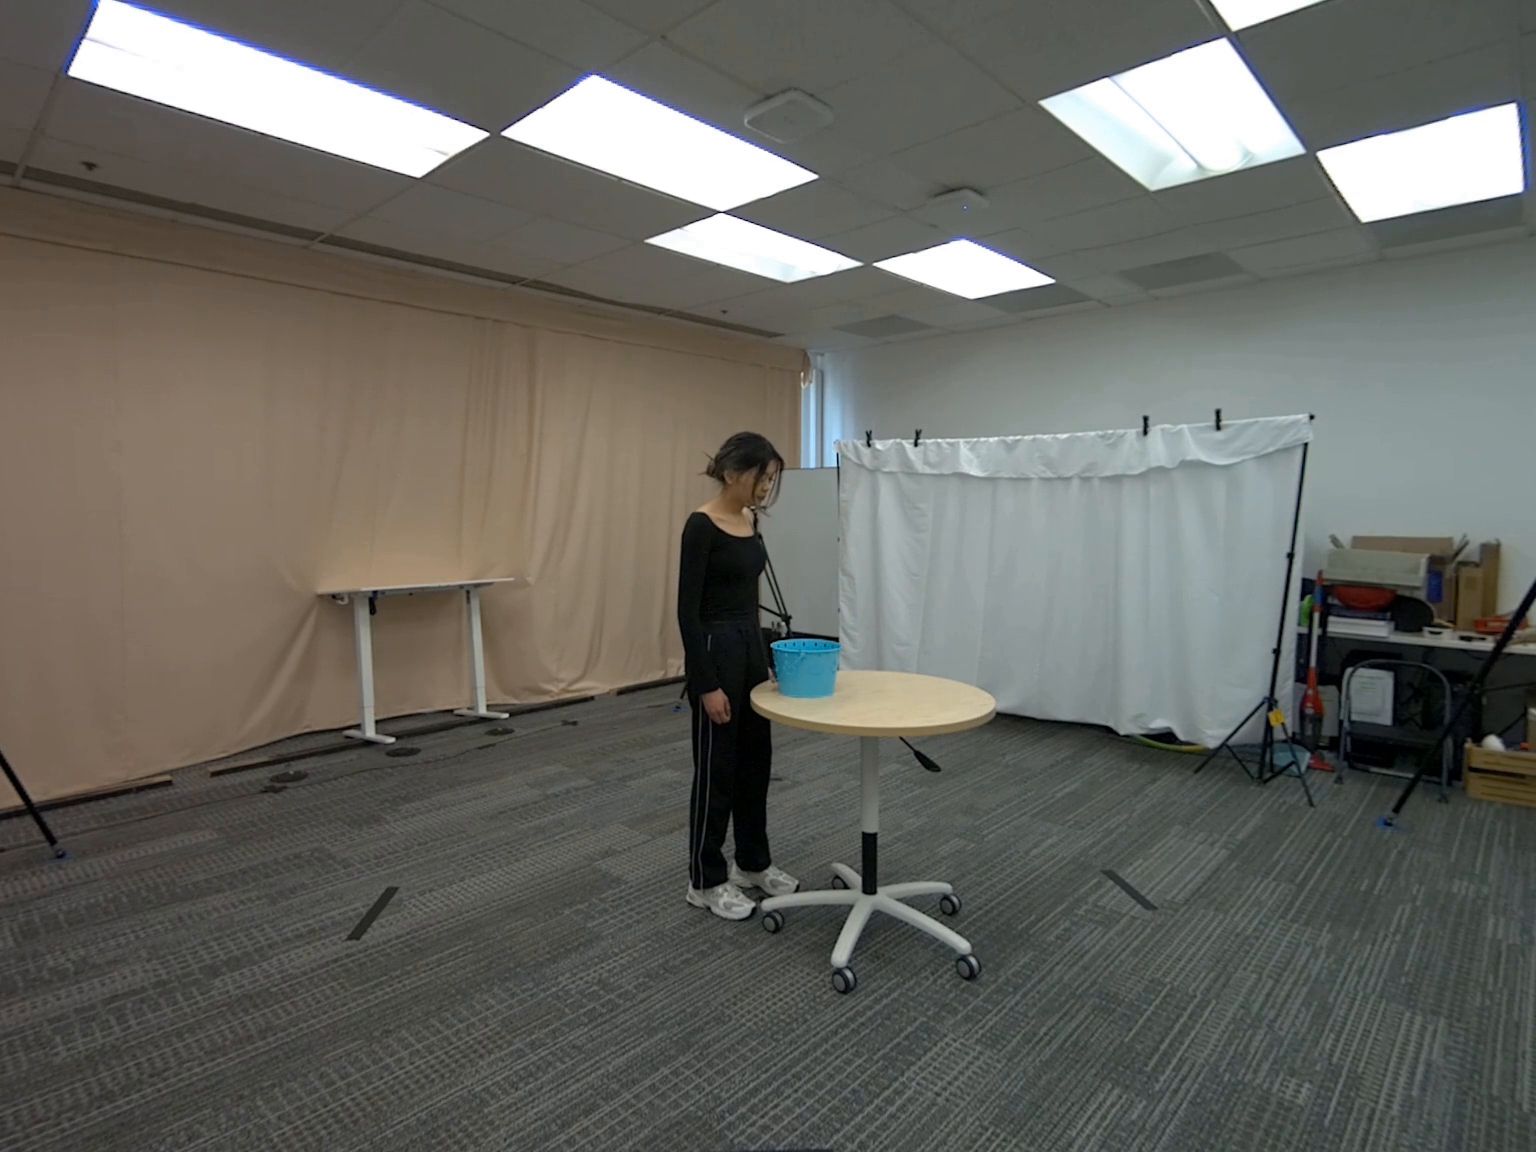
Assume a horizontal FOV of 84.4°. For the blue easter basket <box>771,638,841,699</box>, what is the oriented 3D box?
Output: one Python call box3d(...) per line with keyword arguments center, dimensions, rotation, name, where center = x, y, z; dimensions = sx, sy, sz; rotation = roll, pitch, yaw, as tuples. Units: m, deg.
box3d(center=(0.125, 0.302, 2.738), dimensions=(0.243, 0.155, 0.244), rotation=(0, 5, -2), name="blue easter basket")
